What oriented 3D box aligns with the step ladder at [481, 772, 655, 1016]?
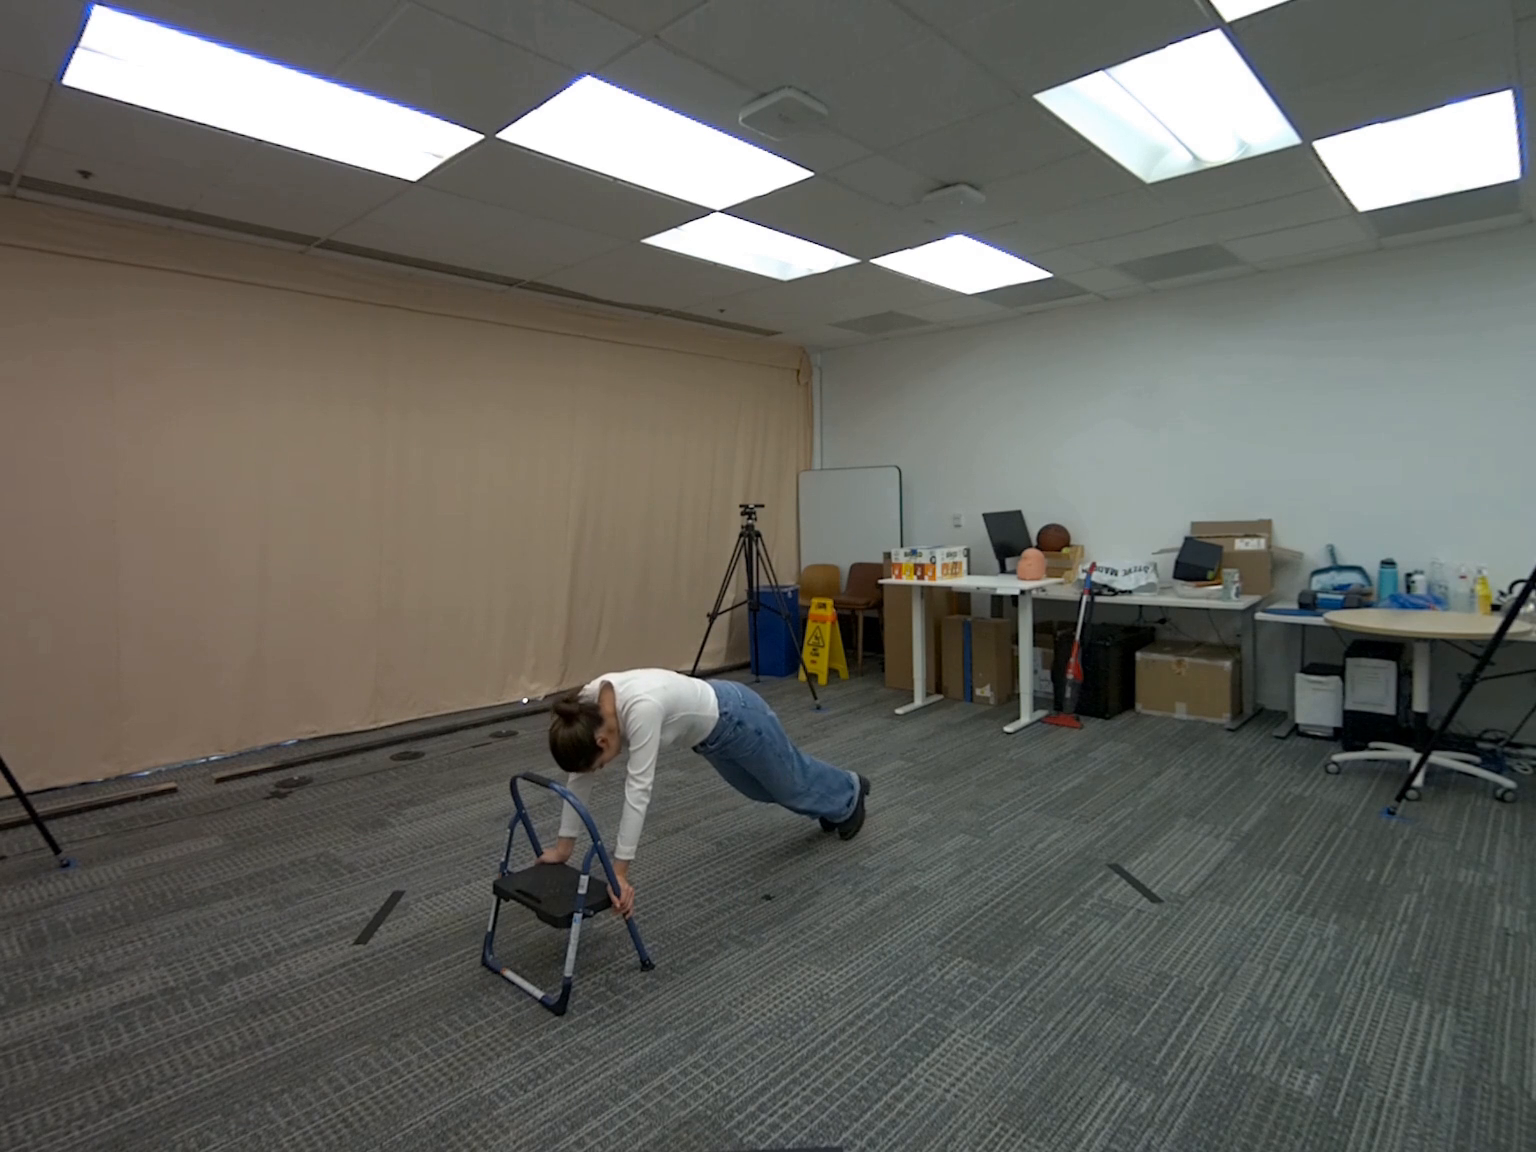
[{"bbox_3d":[-0.622,0.890,2.549,0.445,0.605,0.339,2,5,41],"label":"step ladder"}]
